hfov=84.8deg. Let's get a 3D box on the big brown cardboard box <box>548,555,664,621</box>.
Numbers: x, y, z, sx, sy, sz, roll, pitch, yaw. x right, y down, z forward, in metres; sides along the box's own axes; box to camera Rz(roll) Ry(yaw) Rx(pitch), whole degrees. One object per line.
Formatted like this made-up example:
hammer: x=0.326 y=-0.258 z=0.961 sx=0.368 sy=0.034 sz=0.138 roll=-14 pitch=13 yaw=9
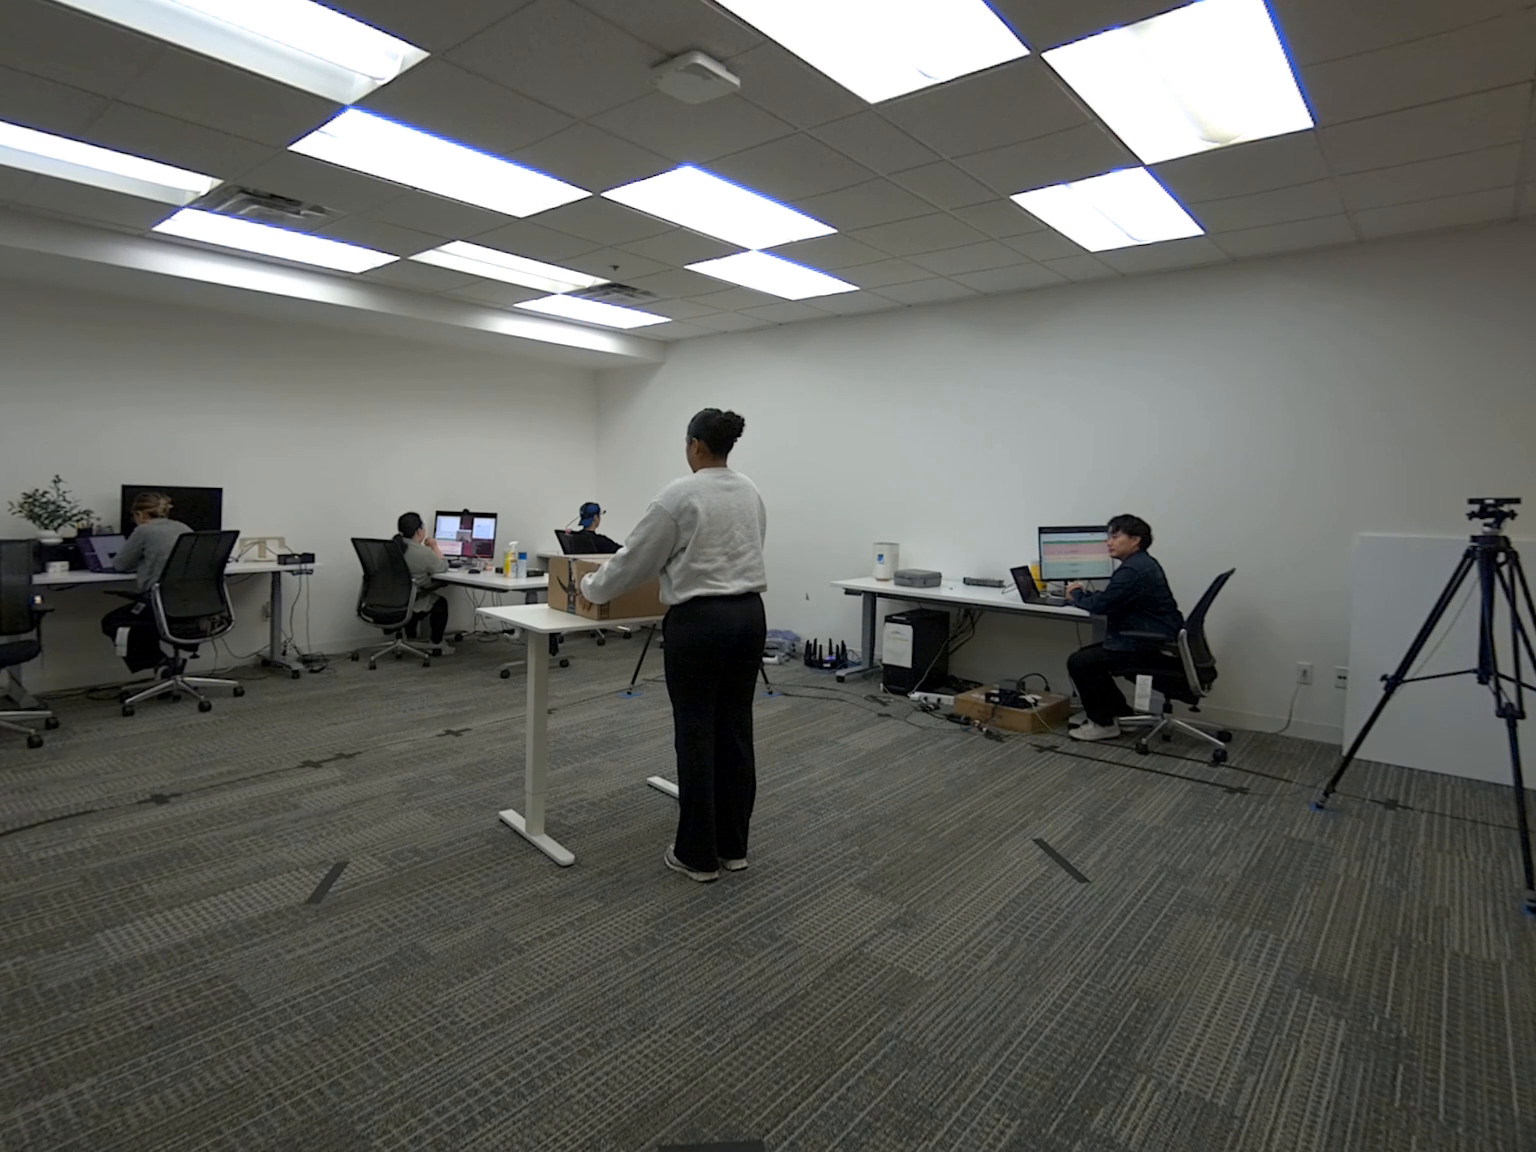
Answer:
big brown cardboard box: x=-0.579 y=0.028 z=3.531 sx=0.572 sy=0.232 sz=0.432 roll=-4 pitch=8 yaw=-39
